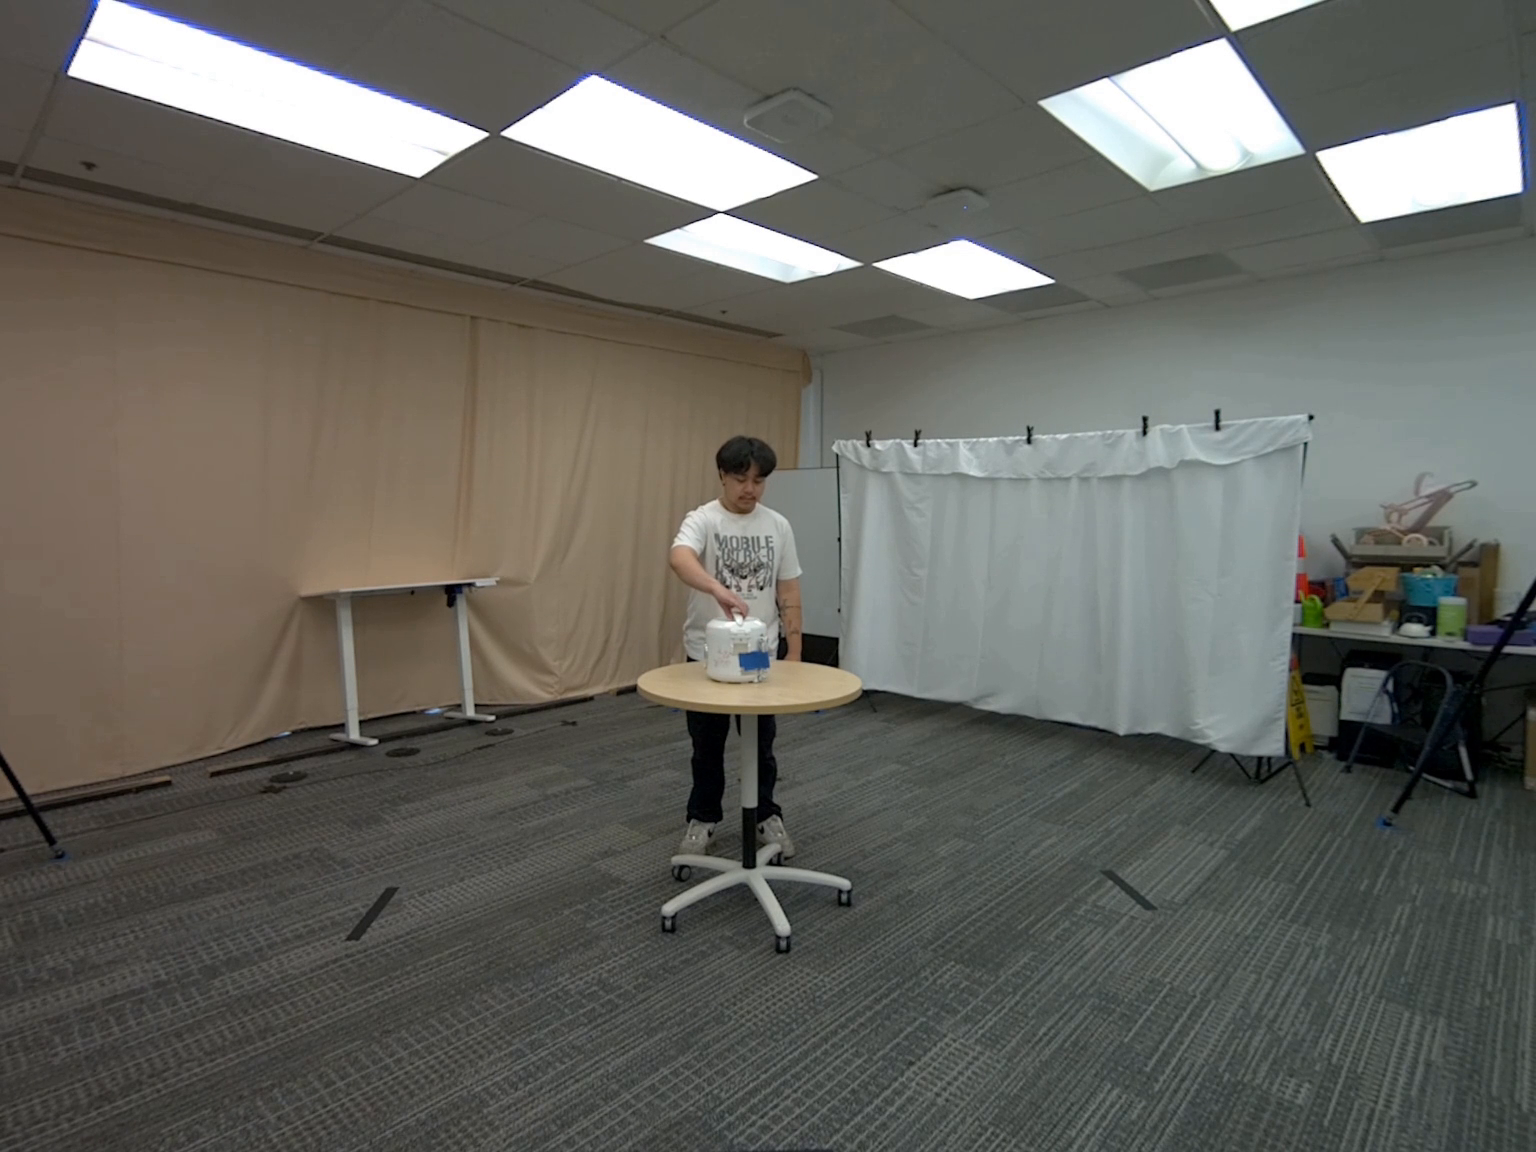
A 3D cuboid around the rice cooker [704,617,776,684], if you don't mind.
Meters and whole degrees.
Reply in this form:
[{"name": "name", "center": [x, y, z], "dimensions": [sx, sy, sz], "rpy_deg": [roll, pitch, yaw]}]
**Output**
[{"name": "rice cooker", "center": [-0.109, 0.236, 2.893], "dimensions": [0.216, 0.232, 0.223], "rpy_deg": [-1, 3, -8]}]
